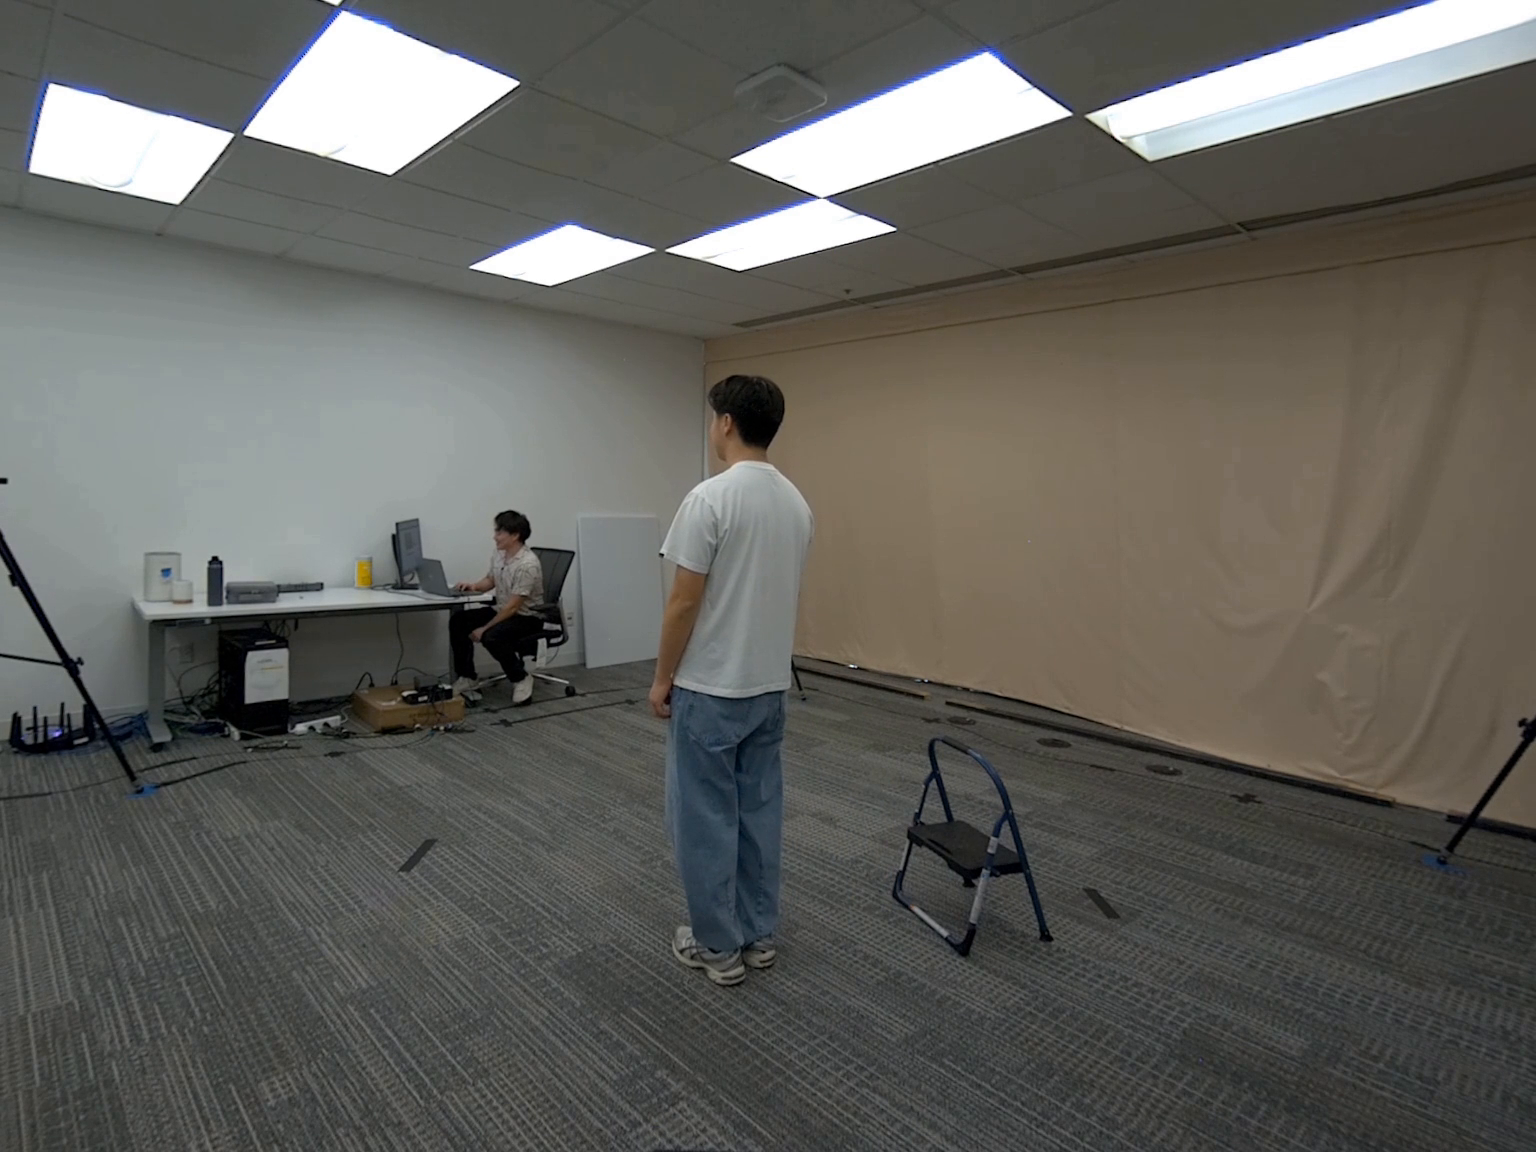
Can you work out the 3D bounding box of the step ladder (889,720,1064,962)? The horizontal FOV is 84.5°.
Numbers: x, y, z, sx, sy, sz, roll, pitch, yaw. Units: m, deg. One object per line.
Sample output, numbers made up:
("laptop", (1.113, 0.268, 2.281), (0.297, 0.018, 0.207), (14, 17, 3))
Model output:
("step ladder", (0.680, 0.847, 2.824), (0.343, 0.605, 0.439), (0, 3, -23))
